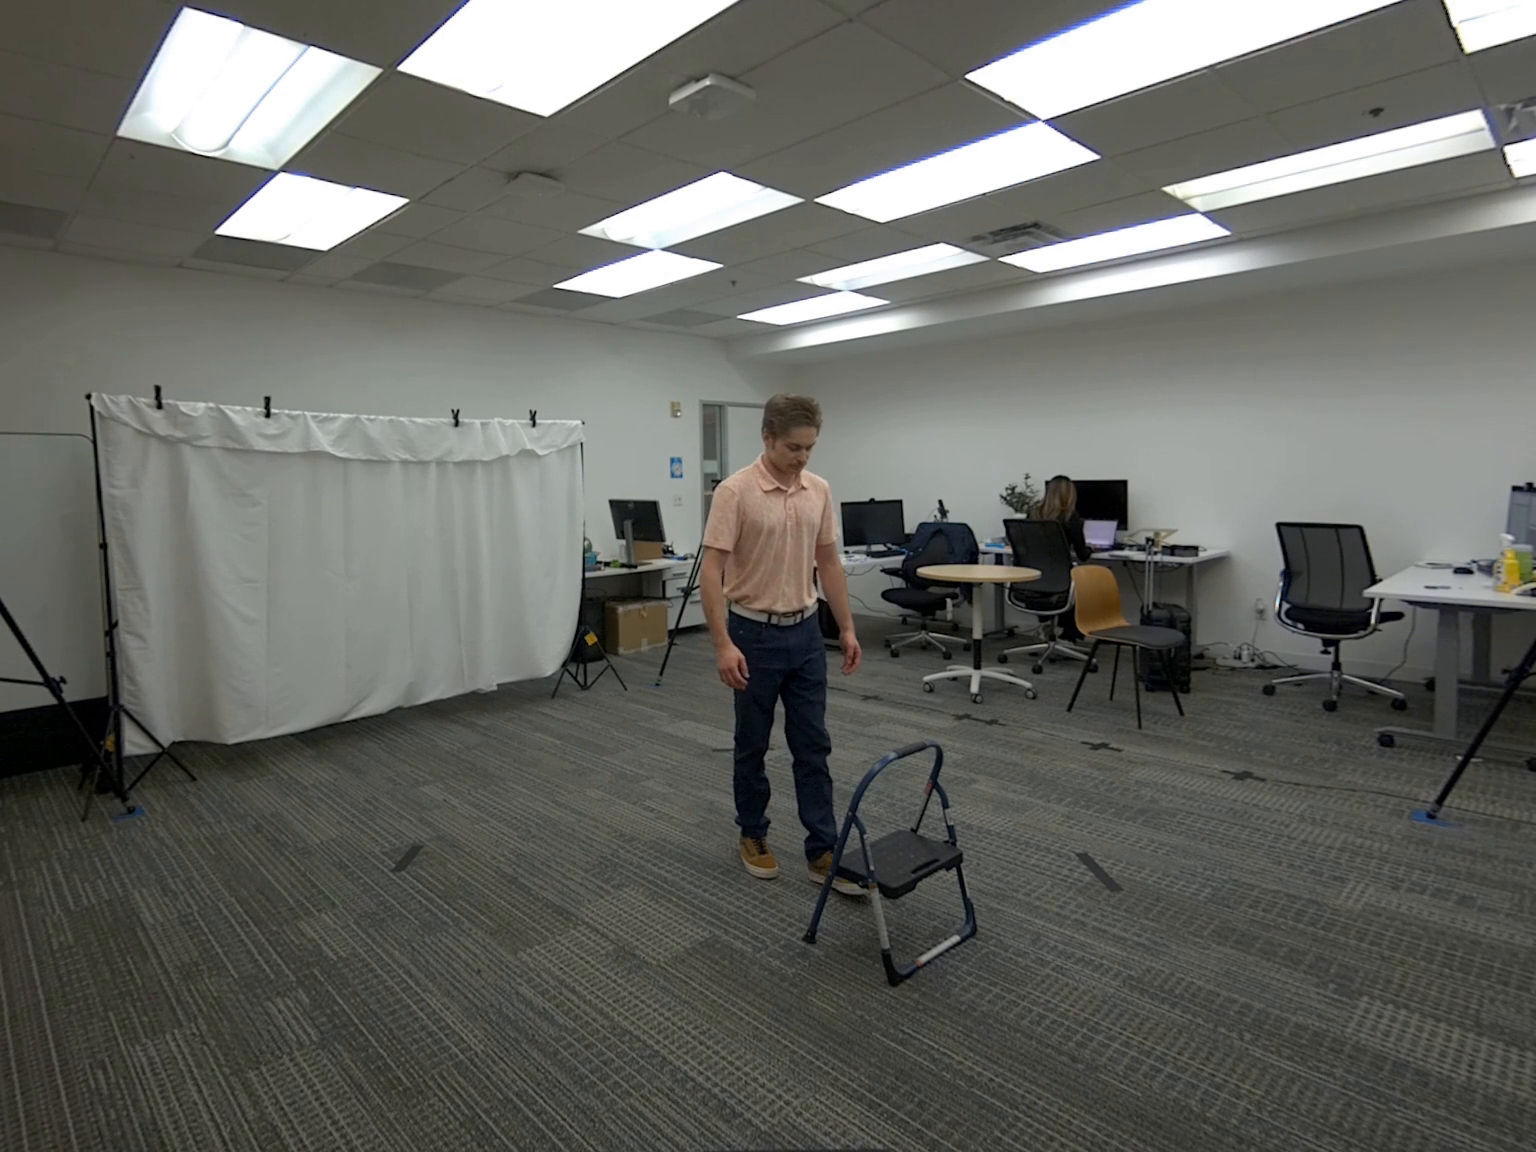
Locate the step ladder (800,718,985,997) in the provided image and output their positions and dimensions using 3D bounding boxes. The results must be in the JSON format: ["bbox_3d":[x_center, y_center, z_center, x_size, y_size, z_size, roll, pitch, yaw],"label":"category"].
[{"bbox_3d":[0.375,0.805,2.579,0.419,0.603,0.360,-7,7,-44],"label":"step ladder"}]
